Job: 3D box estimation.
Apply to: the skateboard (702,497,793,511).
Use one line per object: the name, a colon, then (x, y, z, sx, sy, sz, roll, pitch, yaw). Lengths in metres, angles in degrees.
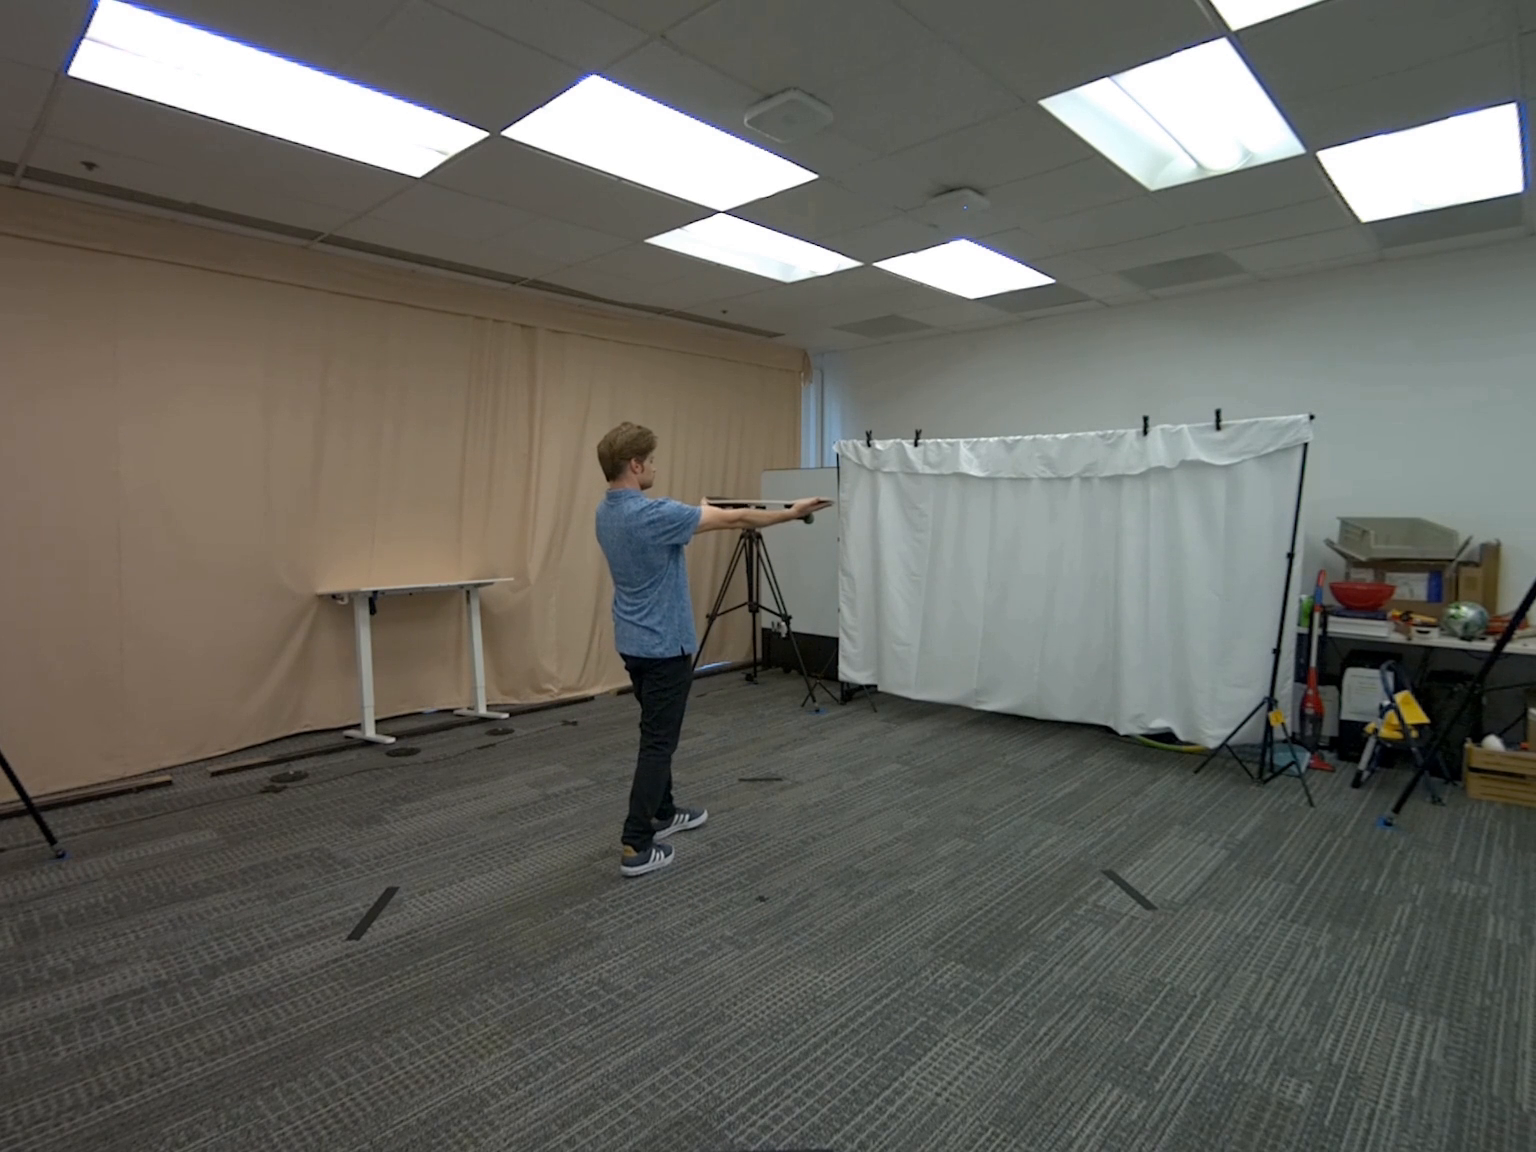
skateboard: (-0.016, -0.288, 3.687, 0.187, 0.110, 0.812, 0, 5, -39)
